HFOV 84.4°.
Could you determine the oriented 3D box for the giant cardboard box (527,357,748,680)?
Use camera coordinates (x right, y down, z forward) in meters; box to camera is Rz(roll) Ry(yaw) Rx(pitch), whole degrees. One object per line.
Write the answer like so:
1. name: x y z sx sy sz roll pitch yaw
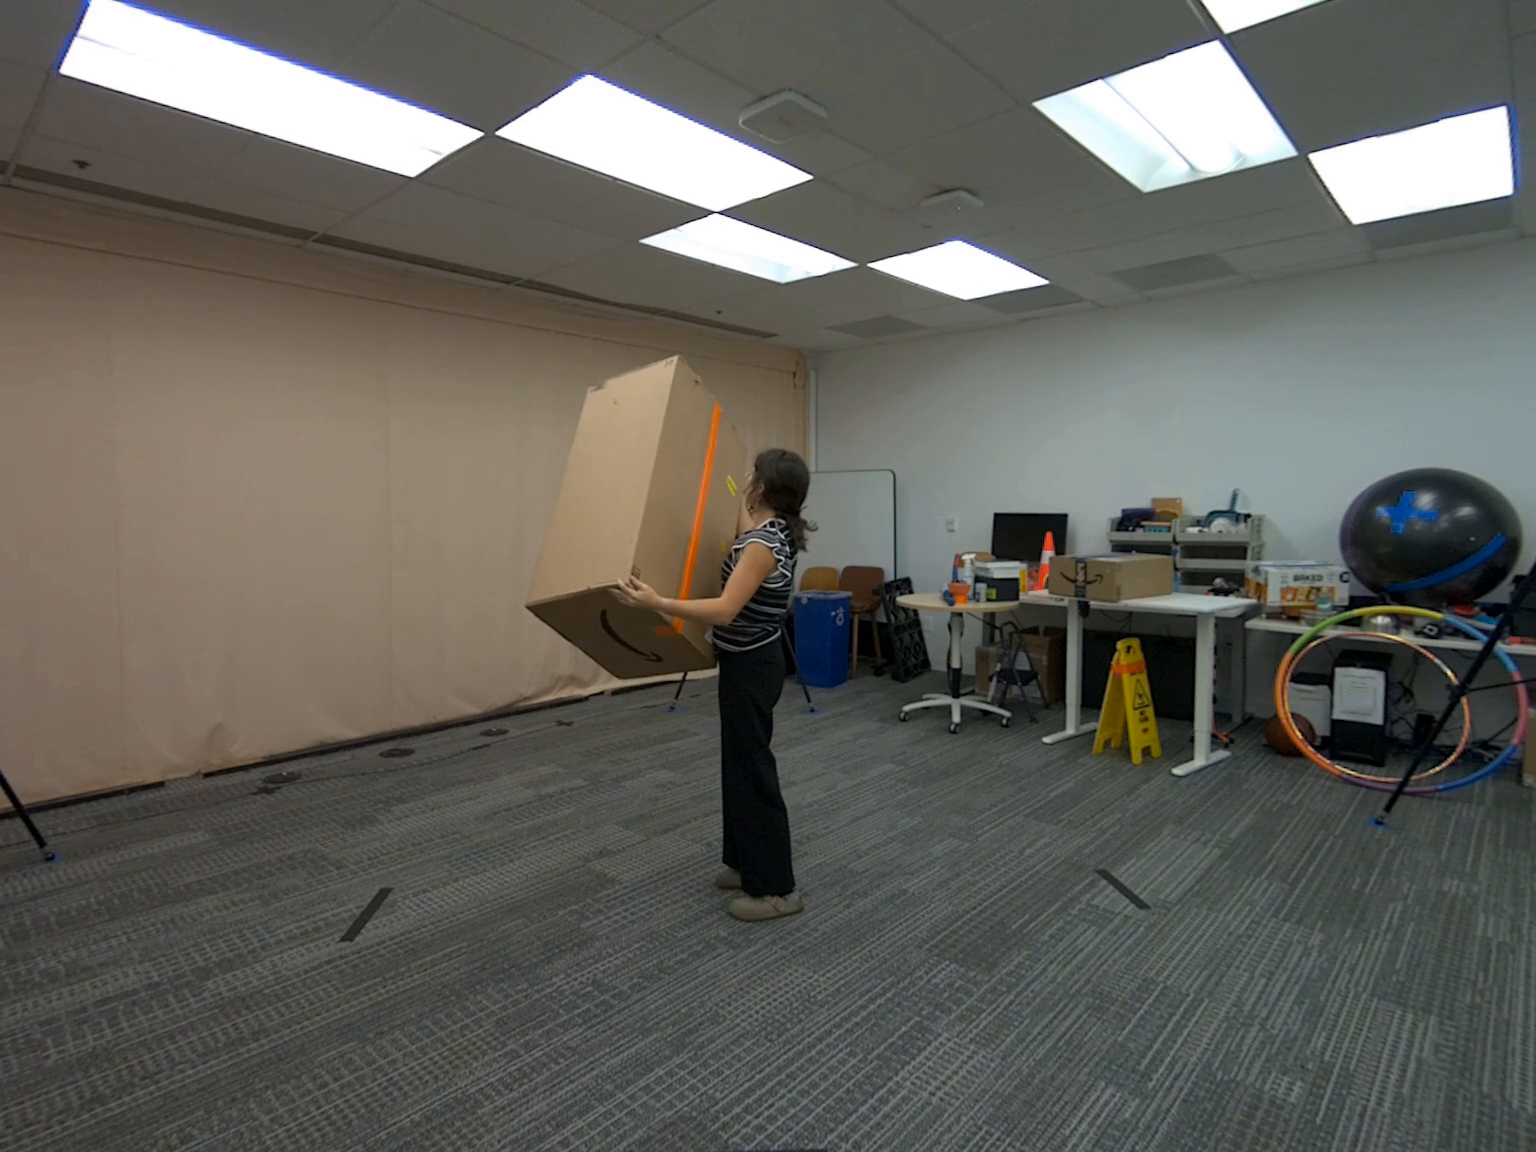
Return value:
1. giant cardboard box: -0.429 -0.218 3.136 0.435 1.039 0.557 -11 -37 25
